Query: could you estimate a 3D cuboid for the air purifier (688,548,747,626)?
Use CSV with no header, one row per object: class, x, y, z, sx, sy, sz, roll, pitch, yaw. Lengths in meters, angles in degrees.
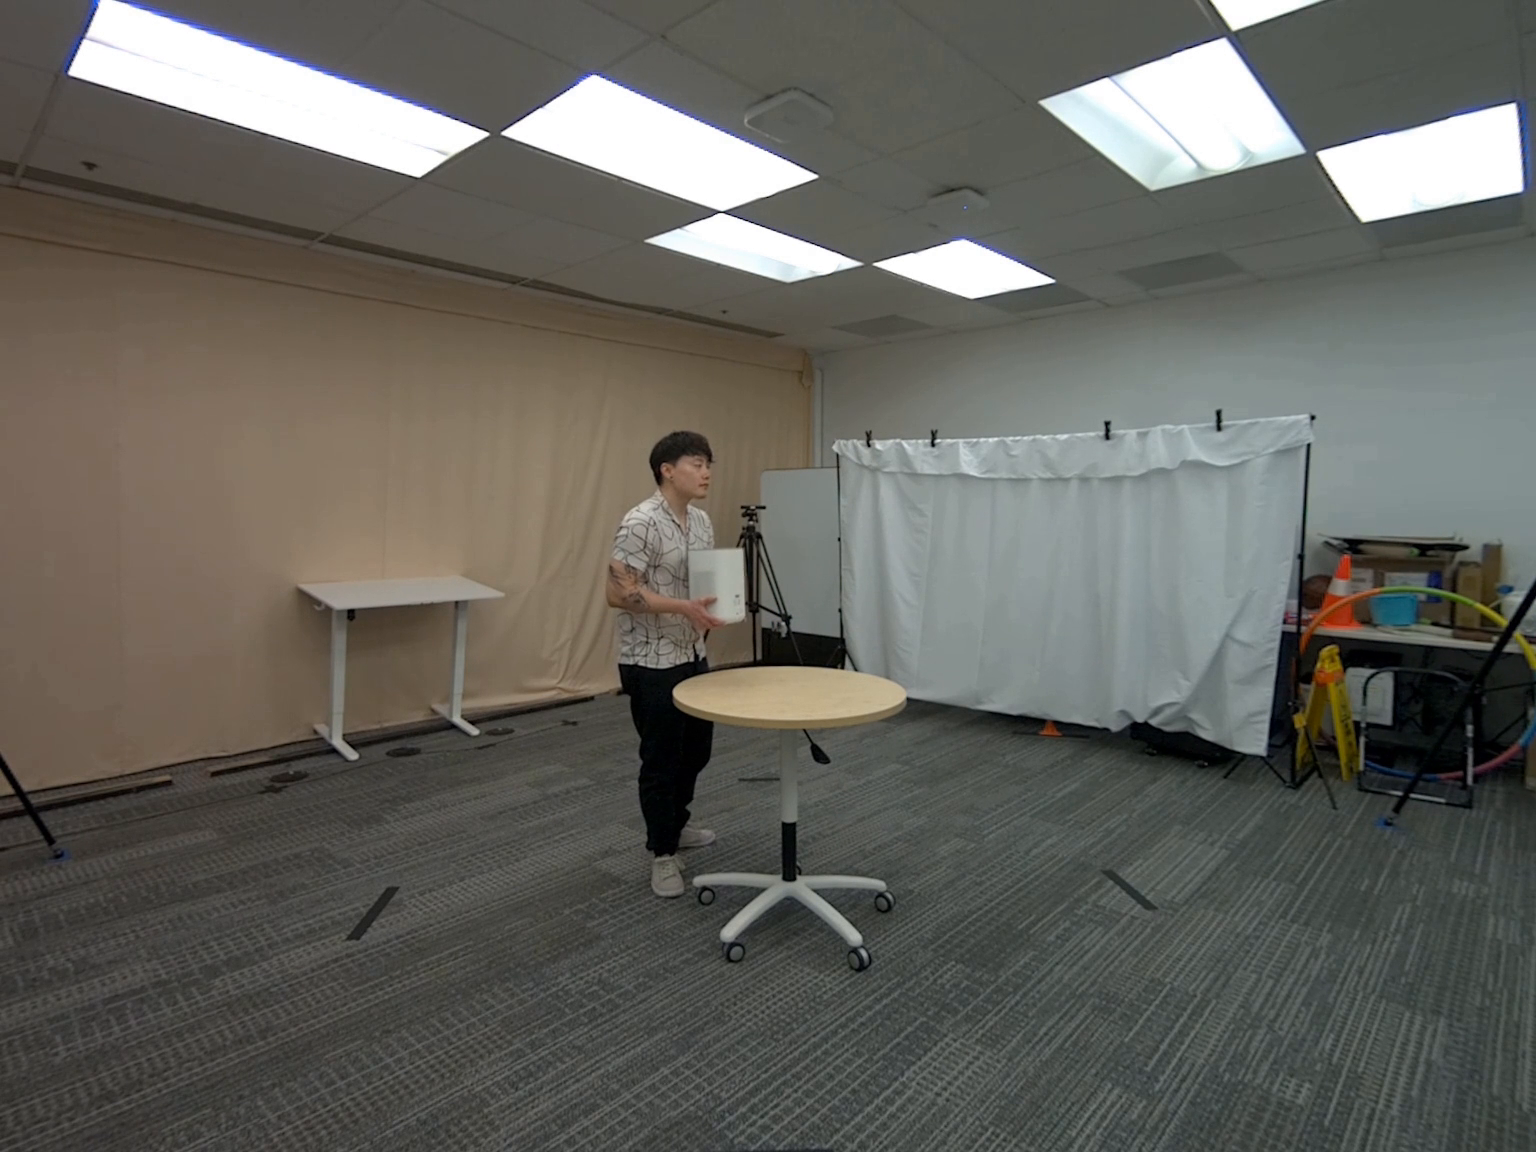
air purifier,-0.183,0.033,2.989,0.176,0.265,0.166,-1,0,32
